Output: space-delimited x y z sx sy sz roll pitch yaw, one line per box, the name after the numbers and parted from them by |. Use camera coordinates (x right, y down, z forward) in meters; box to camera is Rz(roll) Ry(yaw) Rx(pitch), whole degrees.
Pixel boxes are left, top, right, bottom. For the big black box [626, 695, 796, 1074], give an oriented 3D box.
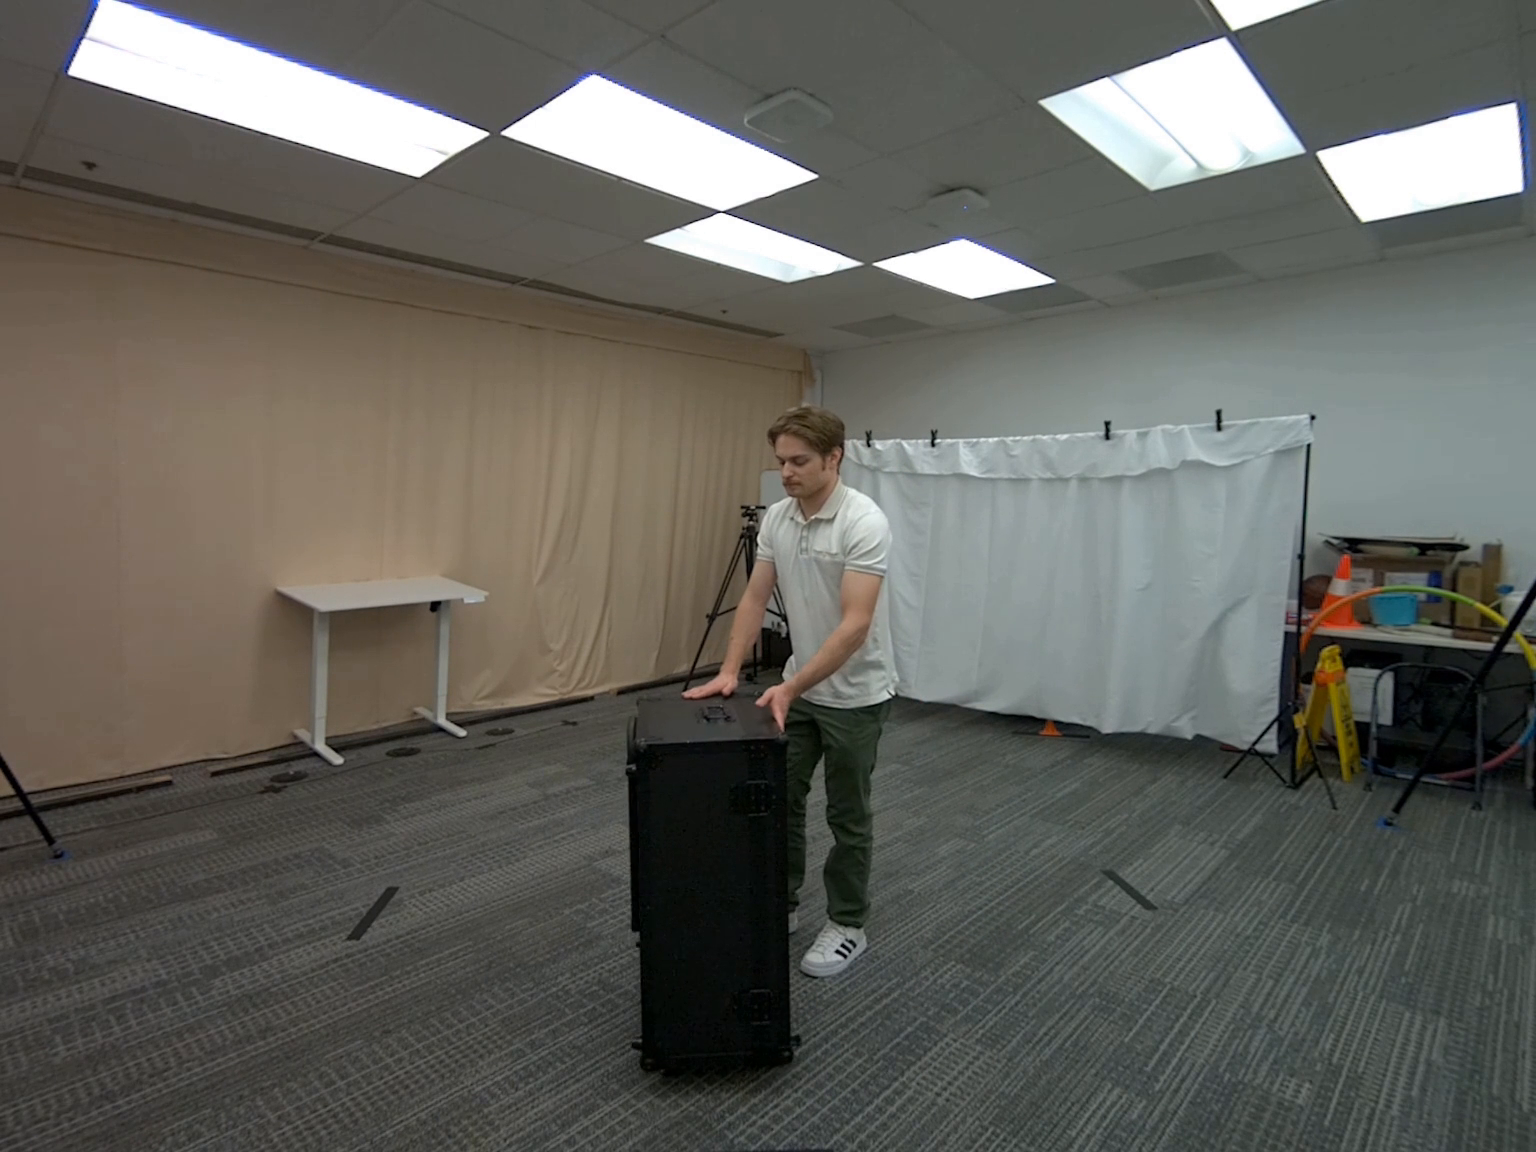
-0.158 0.785 2.196 0.383 0.867 0.527 -1 2 -6 | big black box
